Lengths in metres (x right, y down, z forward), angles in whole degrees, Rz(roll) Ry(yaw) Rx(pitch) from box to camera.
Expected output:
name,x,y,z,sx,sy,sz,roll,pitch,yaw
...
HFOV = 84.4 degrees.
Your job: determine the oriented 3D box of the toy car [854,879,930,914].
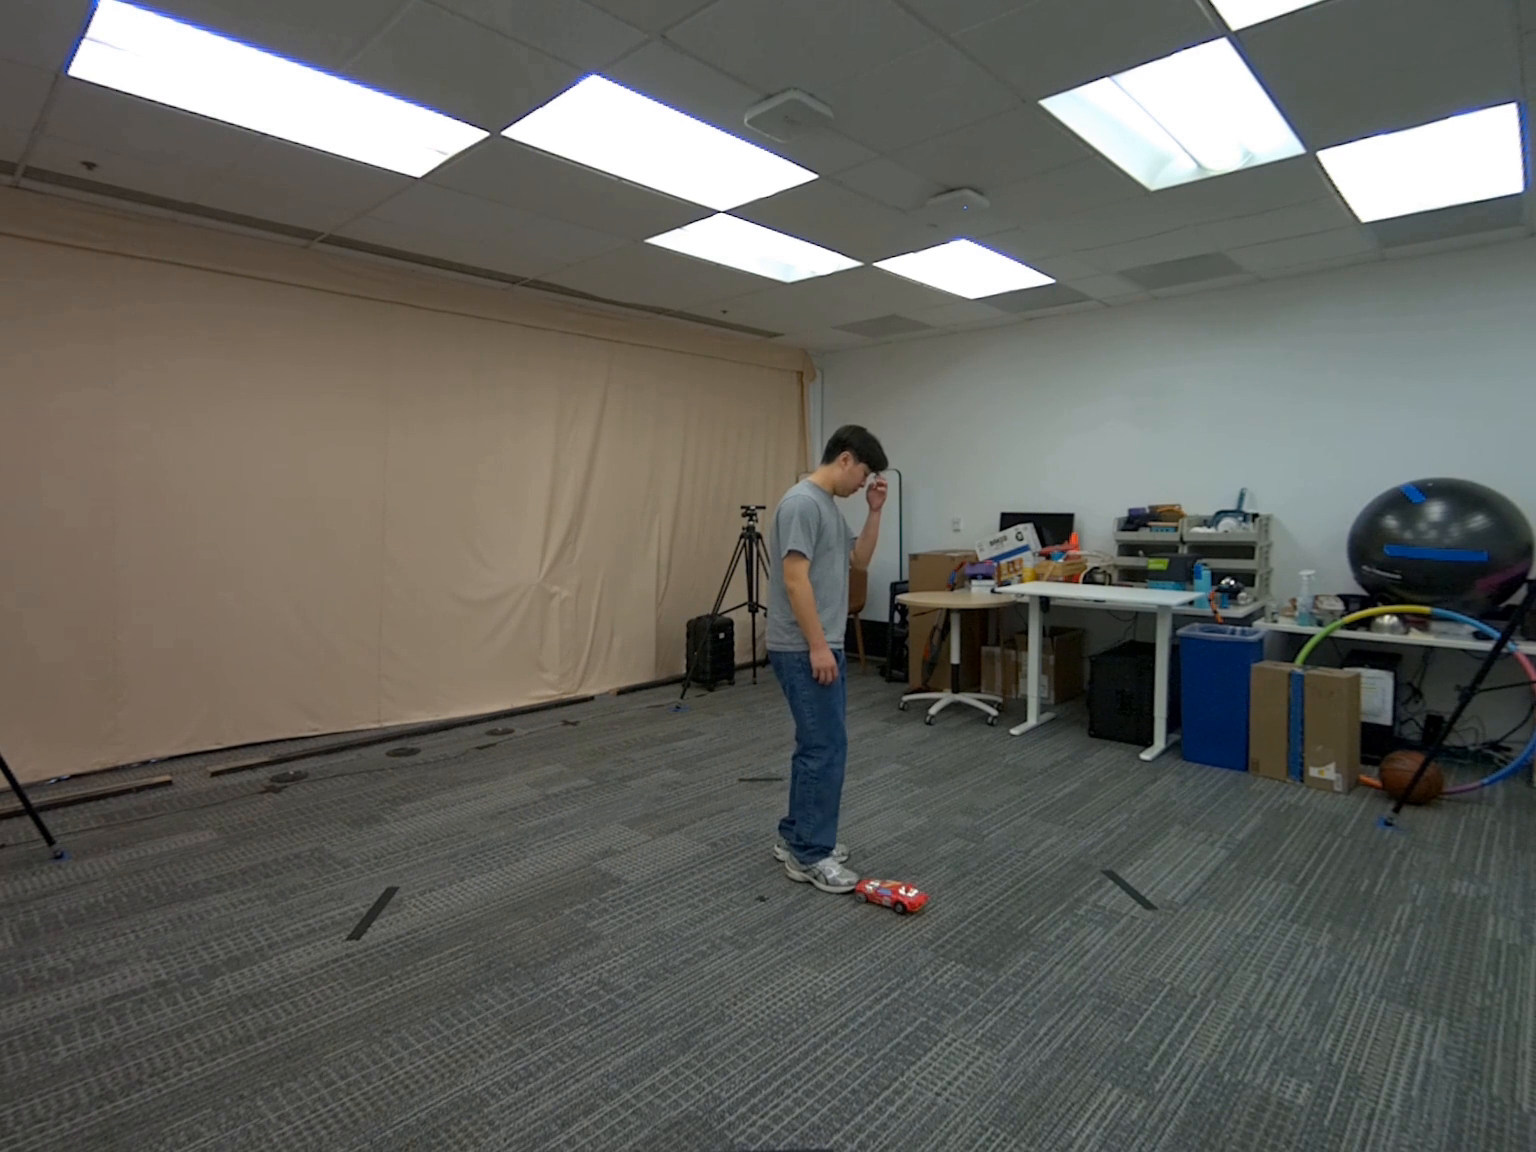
name,x,y,z,sx,sy,sz,roll,pitch,yaw
toy car,0.432,1.114,2.930,0.261,0.083,0.126,-11,-2,35
